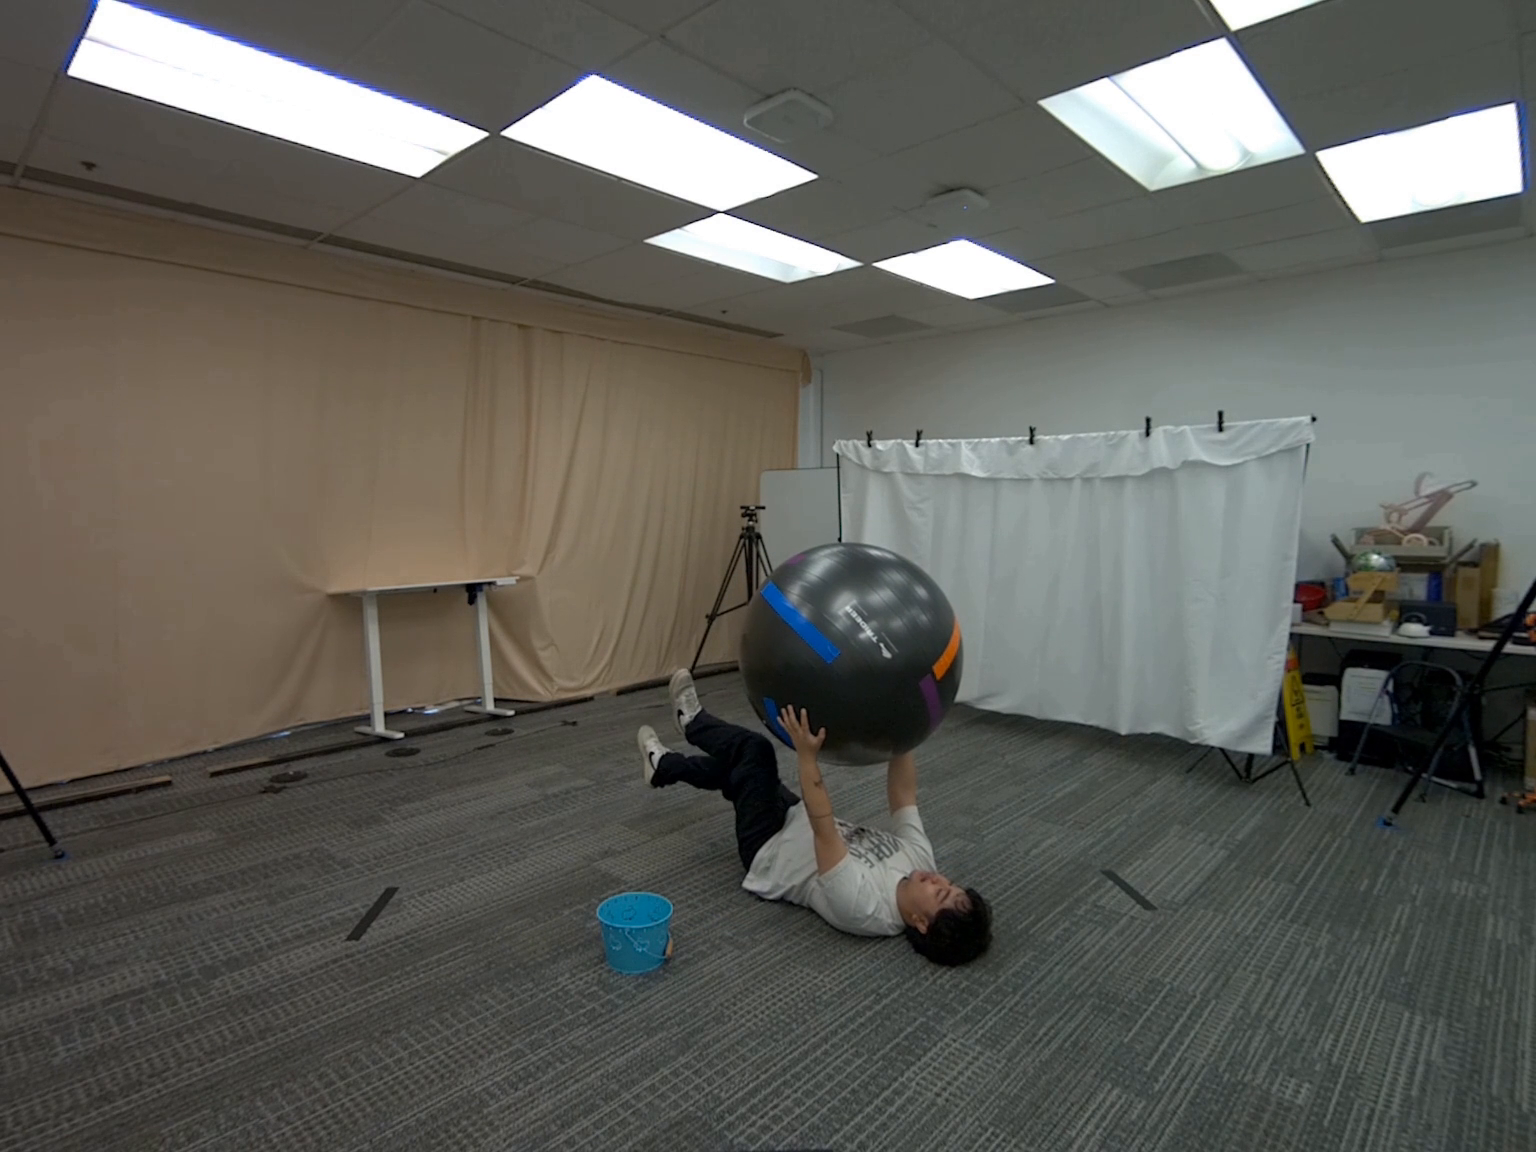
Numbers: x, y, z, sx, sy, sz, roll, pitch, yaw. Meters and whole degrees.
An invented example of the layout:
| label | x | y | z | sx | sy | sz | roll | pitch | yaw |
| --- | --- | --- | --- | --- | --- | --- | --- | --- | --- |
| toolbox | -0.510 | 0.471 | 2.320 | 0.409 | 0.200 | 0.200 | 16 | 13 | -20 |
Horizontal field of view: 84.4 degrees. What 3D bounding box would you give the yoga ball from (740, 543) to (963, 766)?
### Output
| label | x | y | z | sx | sy | sz | roll | pitch | yaw |
| --- | --- | --- | --- | --- | --- | --- | --- | --- | --- |
| yoga ball | 0.281 | 0.271 | 2.888 | 0.757 | 0.756 | 0.761 | 0 | 4 | -2 |
